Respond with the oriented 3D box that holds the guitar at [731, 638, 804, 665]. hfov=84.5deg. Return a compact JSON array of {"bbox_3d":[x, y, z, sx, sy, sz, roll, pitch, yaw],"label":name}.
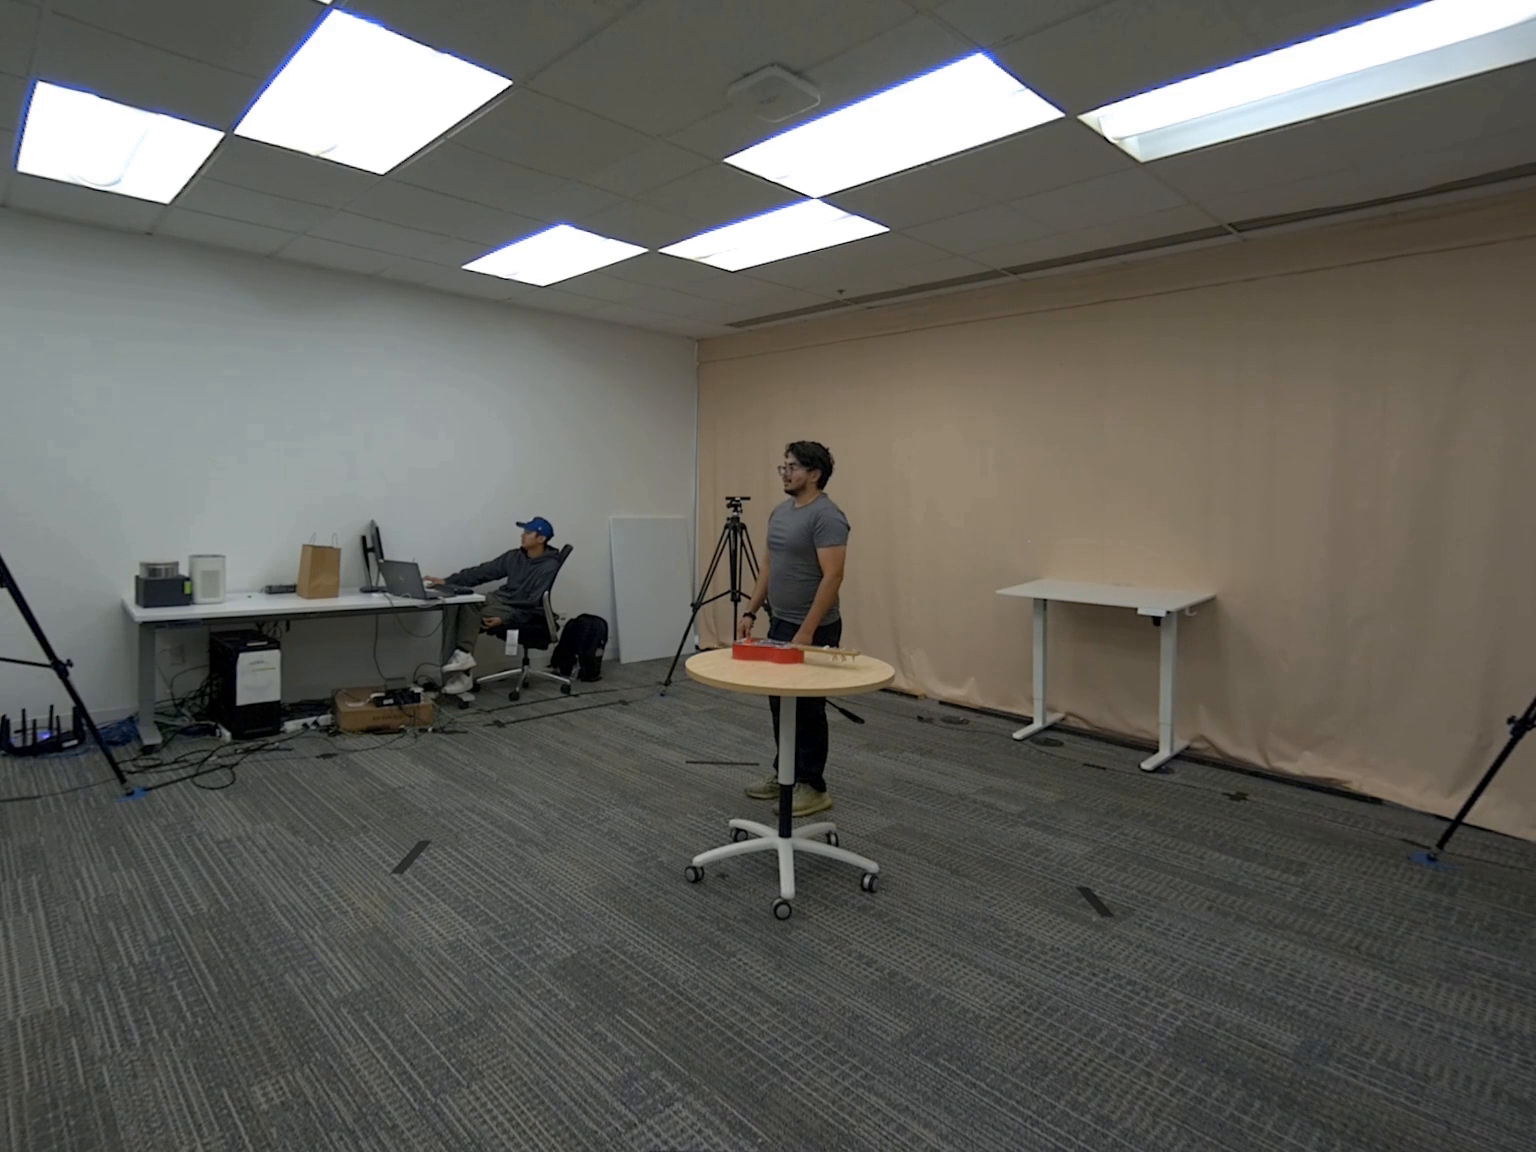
[{"bbox_3d":[0.070,0.288,3.153,0.510,0.070,0.188,6,4,37],"label":"guitar"}]
